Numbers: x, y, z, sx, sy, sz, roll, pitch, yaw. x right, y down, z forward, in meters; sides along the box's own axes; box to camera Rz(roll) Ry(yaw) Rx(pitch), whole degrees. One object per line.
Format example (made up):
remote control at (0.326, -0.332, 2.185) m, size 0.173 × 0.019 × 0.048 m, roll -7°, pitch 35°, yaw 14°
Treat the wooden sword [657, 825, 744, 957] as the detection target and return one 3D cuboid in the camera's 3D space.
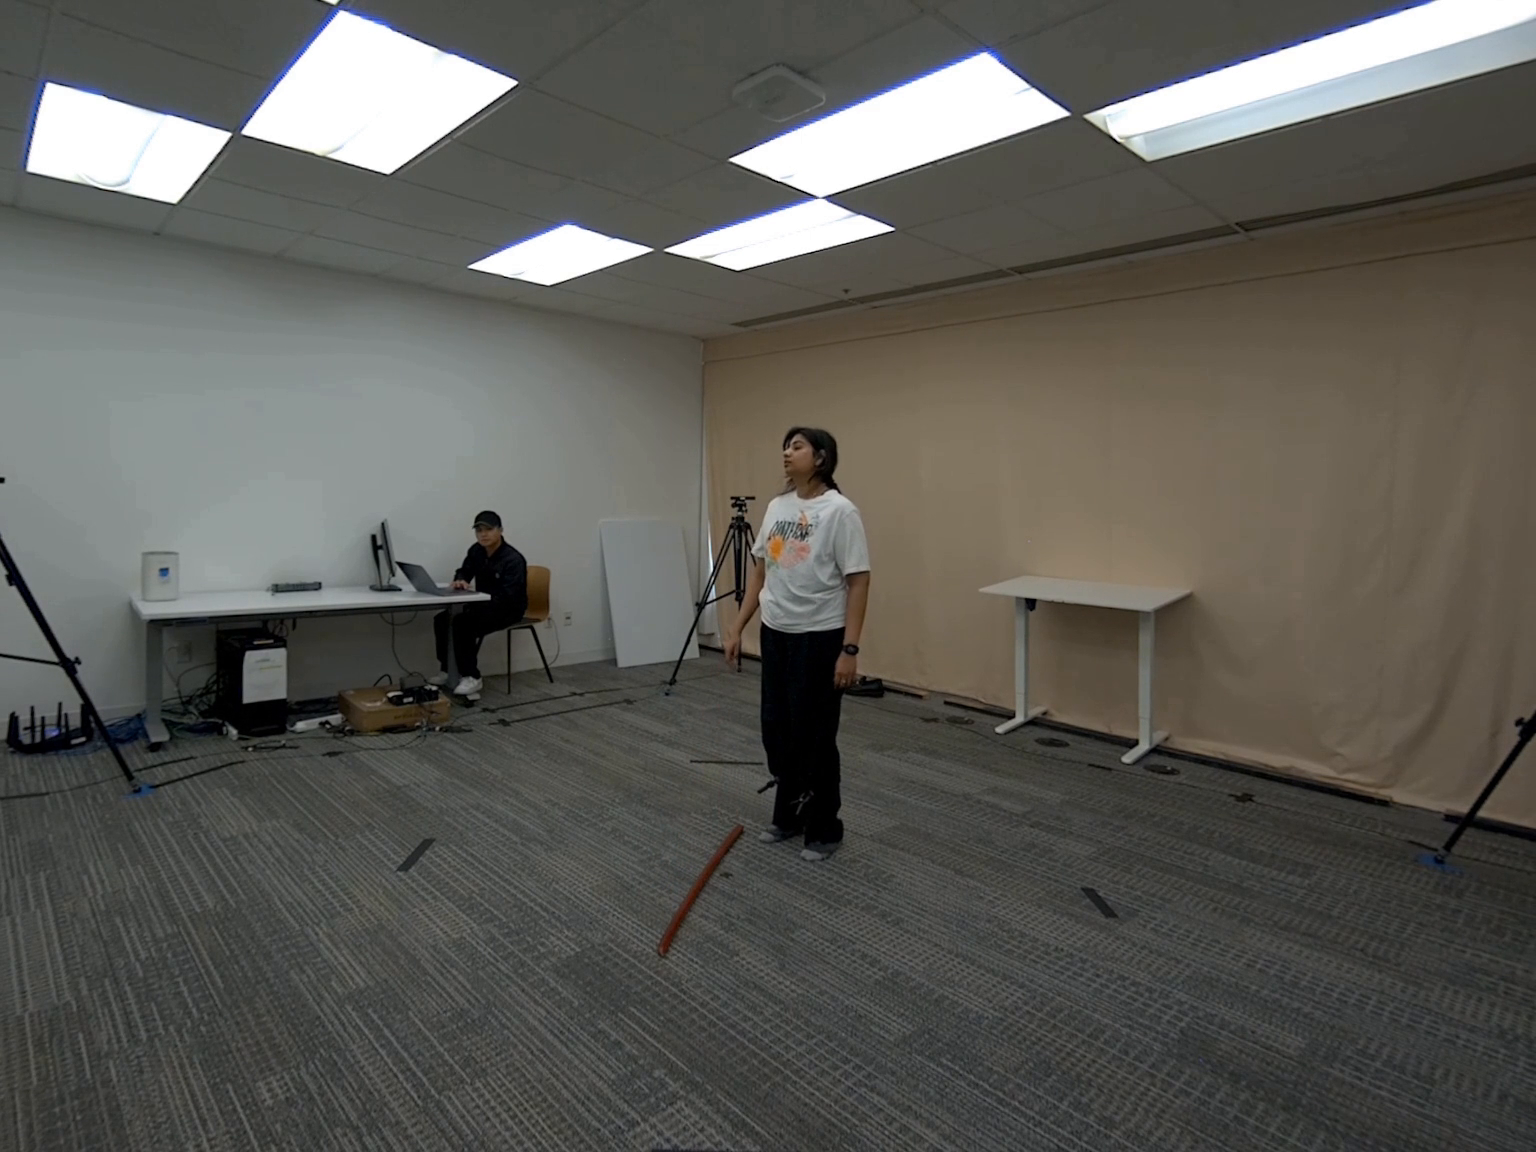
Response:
wooden sword at (-0.239, 1.085, 3.027) m, size 0.052 × 0.024 × 1.017 m, roll -10°, pitch 3°, yaw 12°
